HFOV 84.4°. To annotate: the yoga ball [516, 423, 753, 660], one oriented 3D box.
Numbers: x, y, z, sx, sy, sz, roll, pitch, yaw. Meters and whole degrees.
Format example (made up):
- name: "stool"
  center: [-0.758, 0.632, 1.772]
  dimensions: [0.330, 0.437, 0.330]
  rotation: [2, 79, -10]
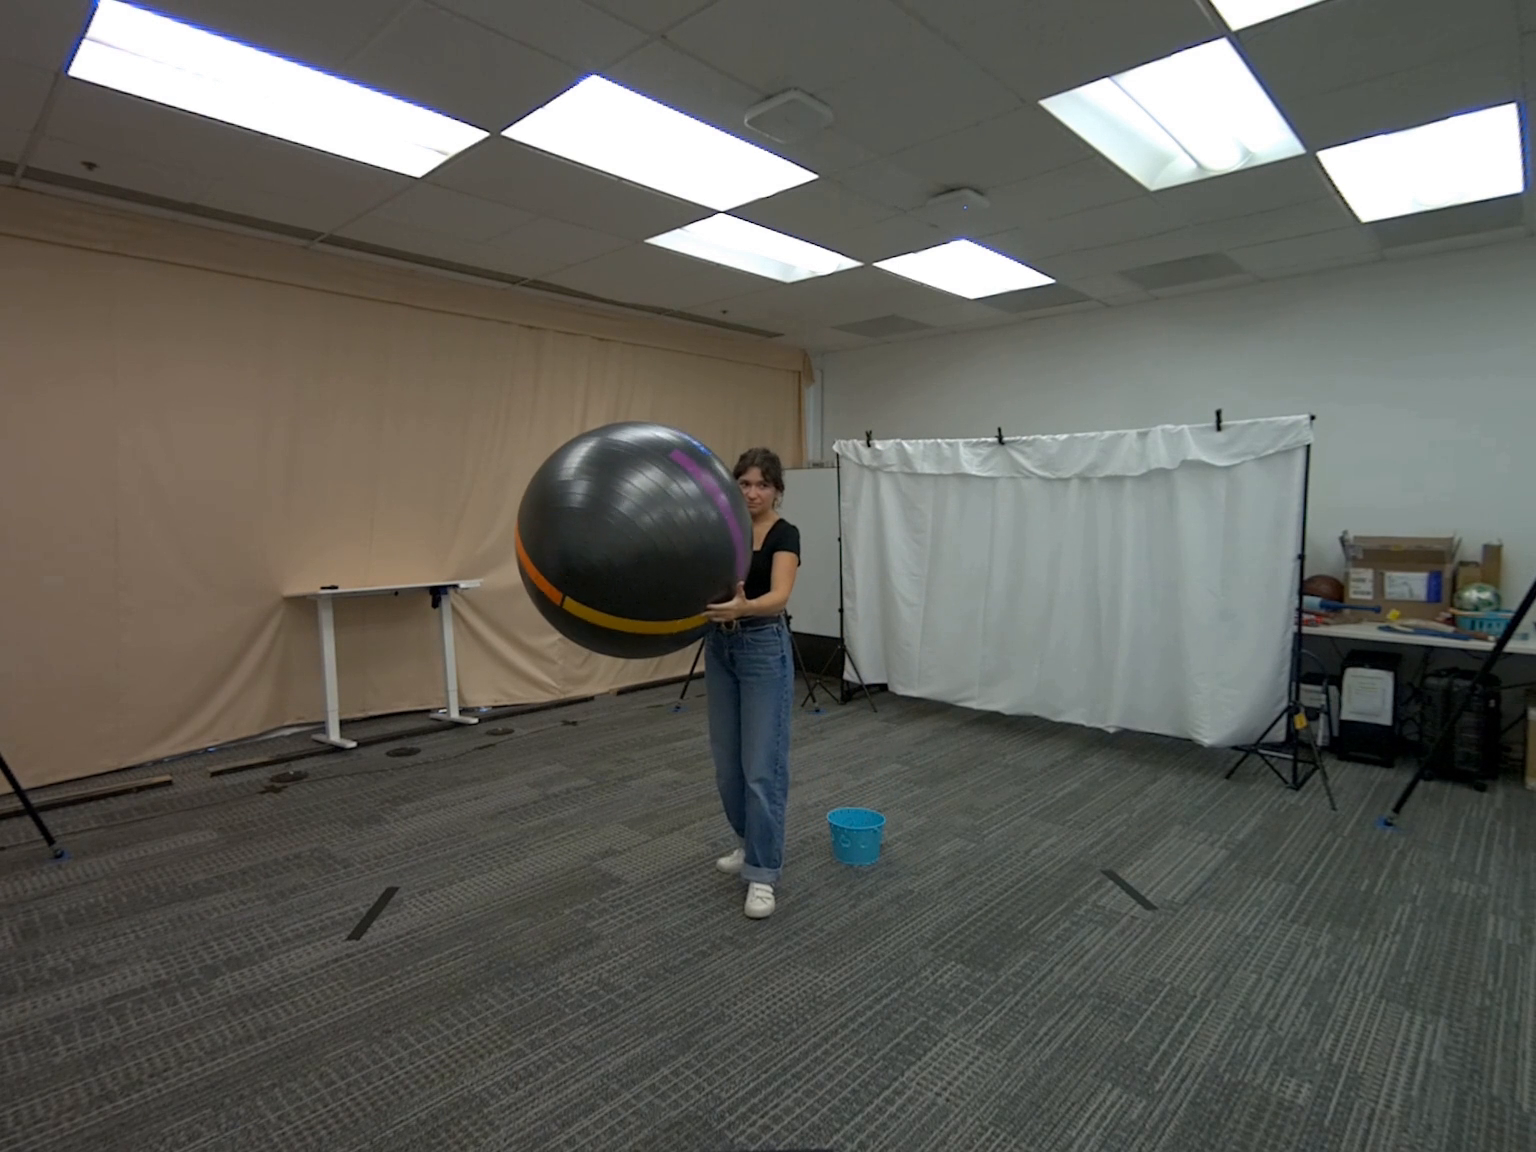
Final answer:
- name: "yoga ball"
  center: [-0.433, -0.113, 2.713]
  dimensions: [0.757, 0.756, 0.760]
  rotation: [0, 4, -2]
